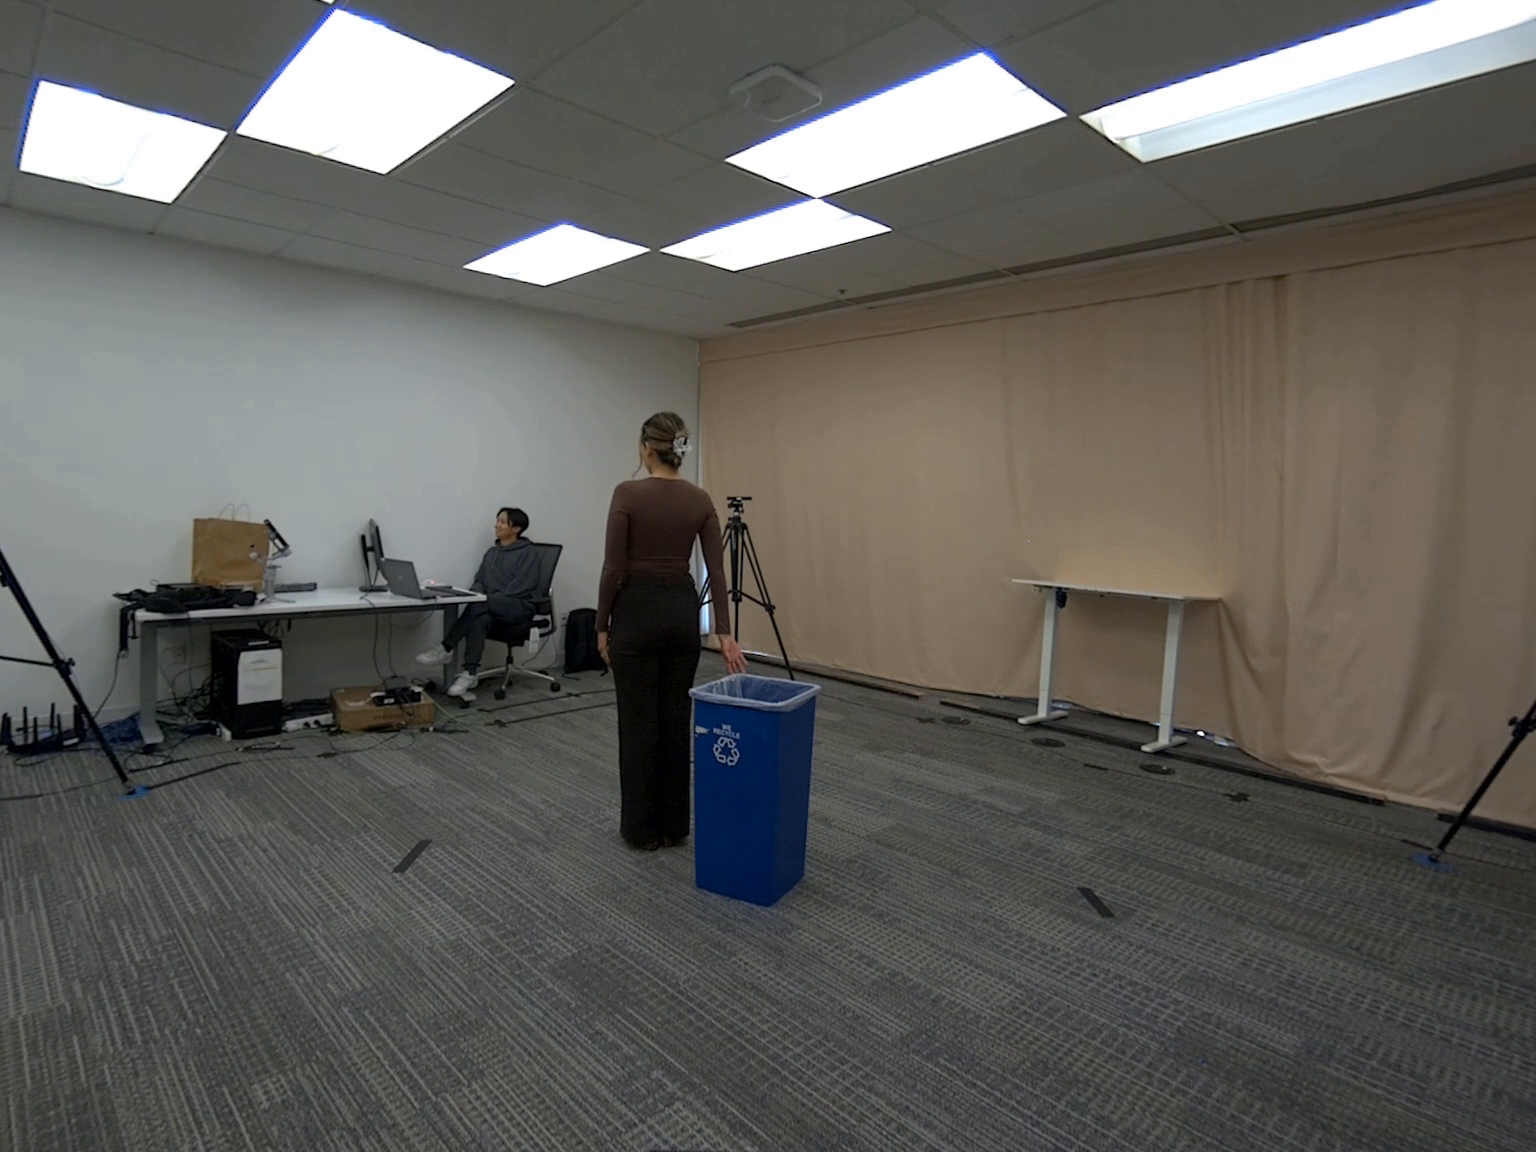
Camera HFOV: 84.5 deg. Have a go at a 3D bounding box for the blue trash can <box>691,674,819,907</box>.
[{"bbox_3d":[-0.062,0.754,3.047,0.386,0.711,0.367,3,5,27],"label":"blue trash can"}]
